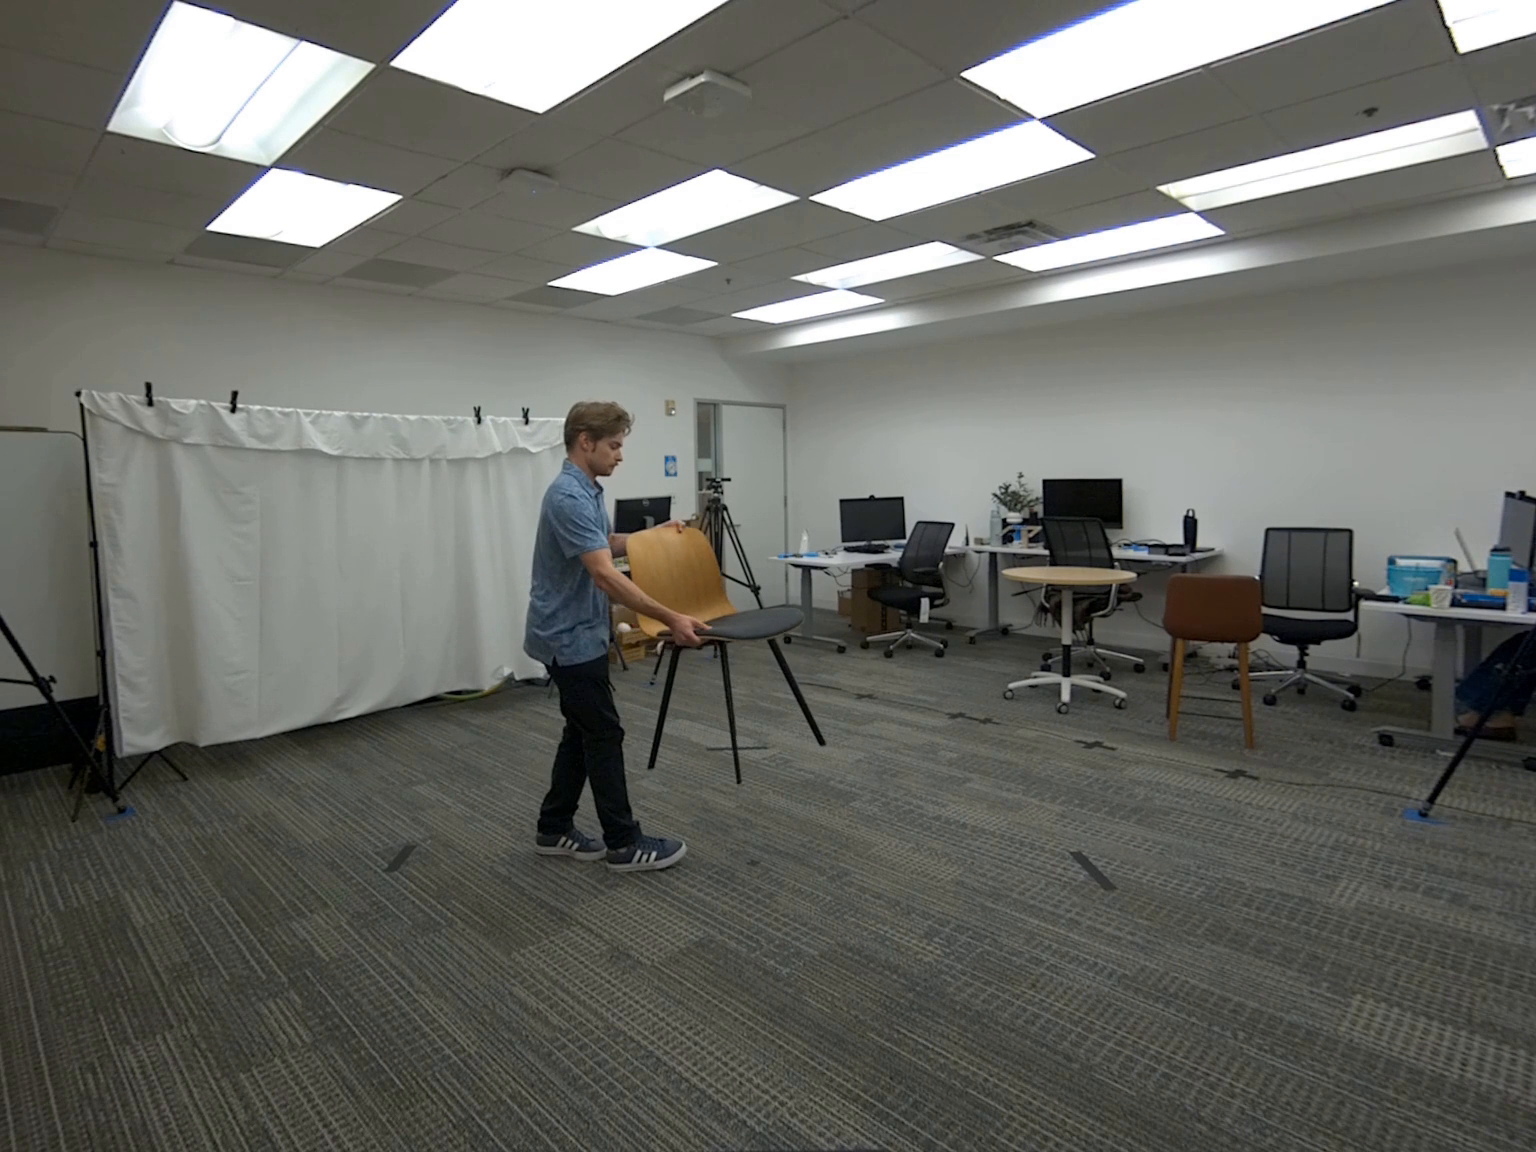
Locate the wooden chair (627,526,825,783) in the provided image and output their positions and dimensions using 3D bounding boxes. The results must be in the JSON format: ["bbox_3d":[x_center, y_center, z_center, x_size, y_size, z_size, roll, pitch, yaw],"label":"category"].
[{"bbox_3d":[-0.160,0.224,3.026,0.535,0.879,0.466,-12,-2,44],"label":"wooden chair"}]
